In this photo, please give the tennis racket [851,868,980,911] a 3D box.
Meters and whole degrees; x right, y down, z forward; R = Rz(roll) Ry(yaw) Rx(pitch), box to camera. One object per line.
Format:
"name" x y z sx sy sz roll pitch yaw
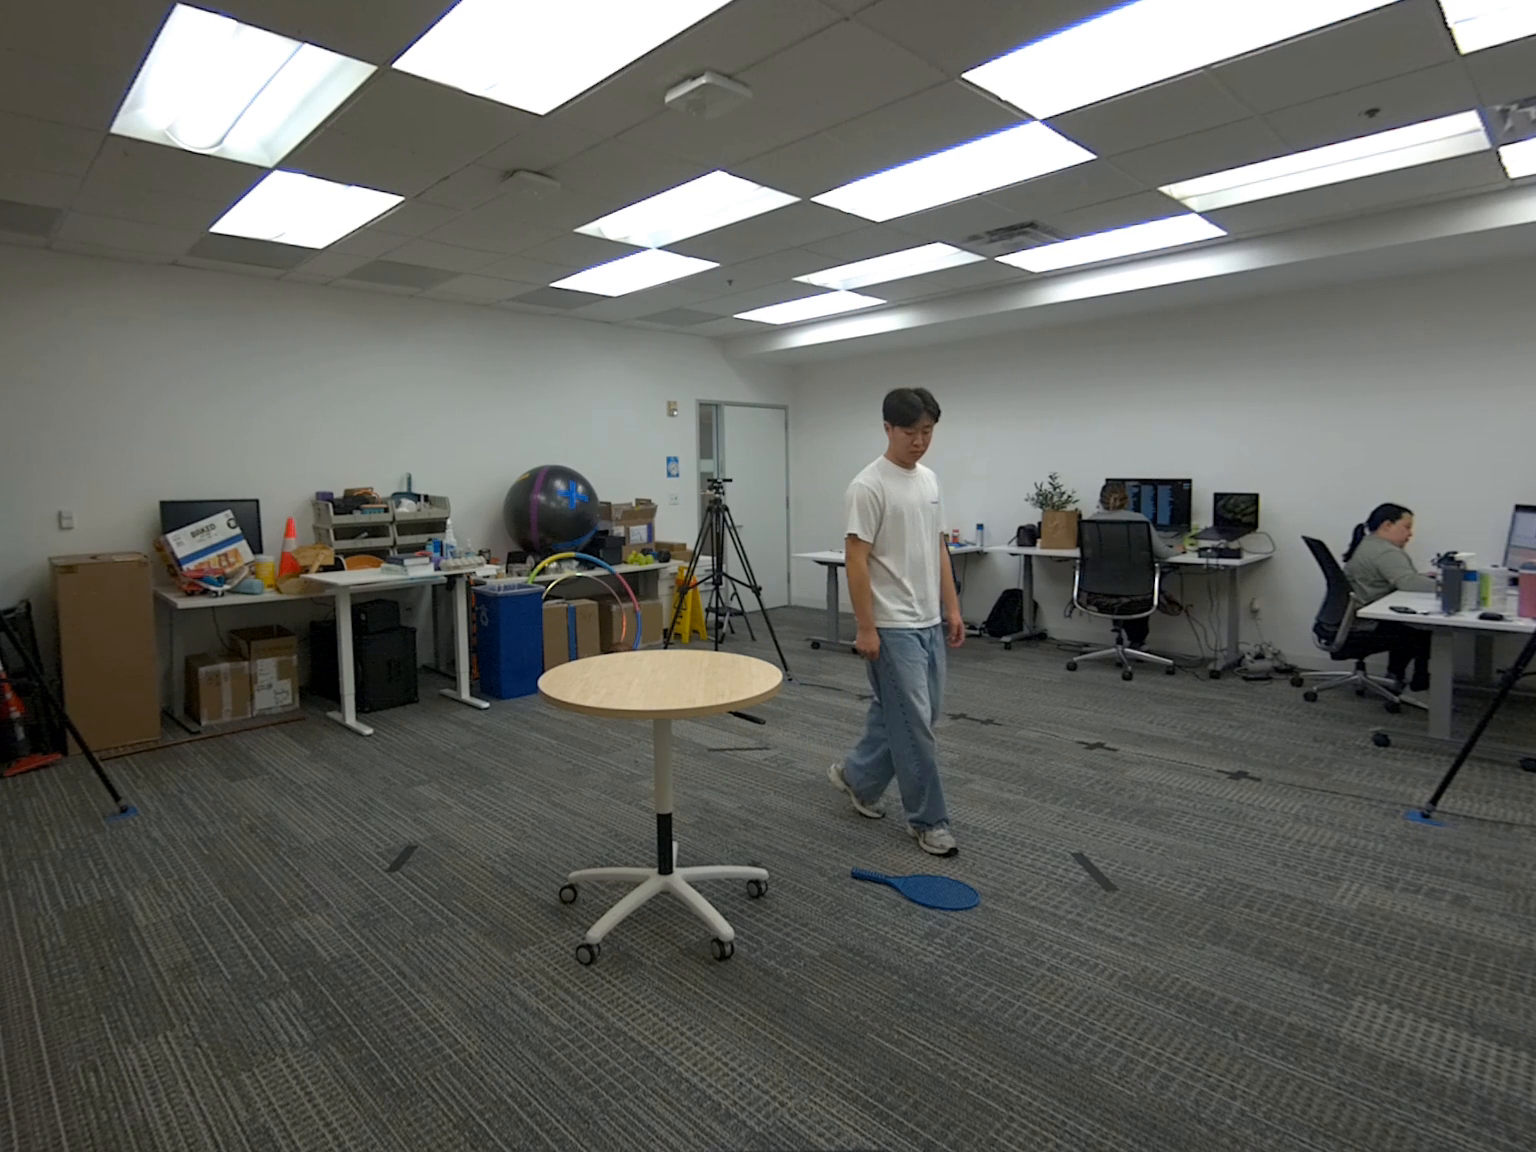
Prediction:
"tennis racket" 0.490 1.045 2.891 0.444 0.031 0.209 4 7 27
